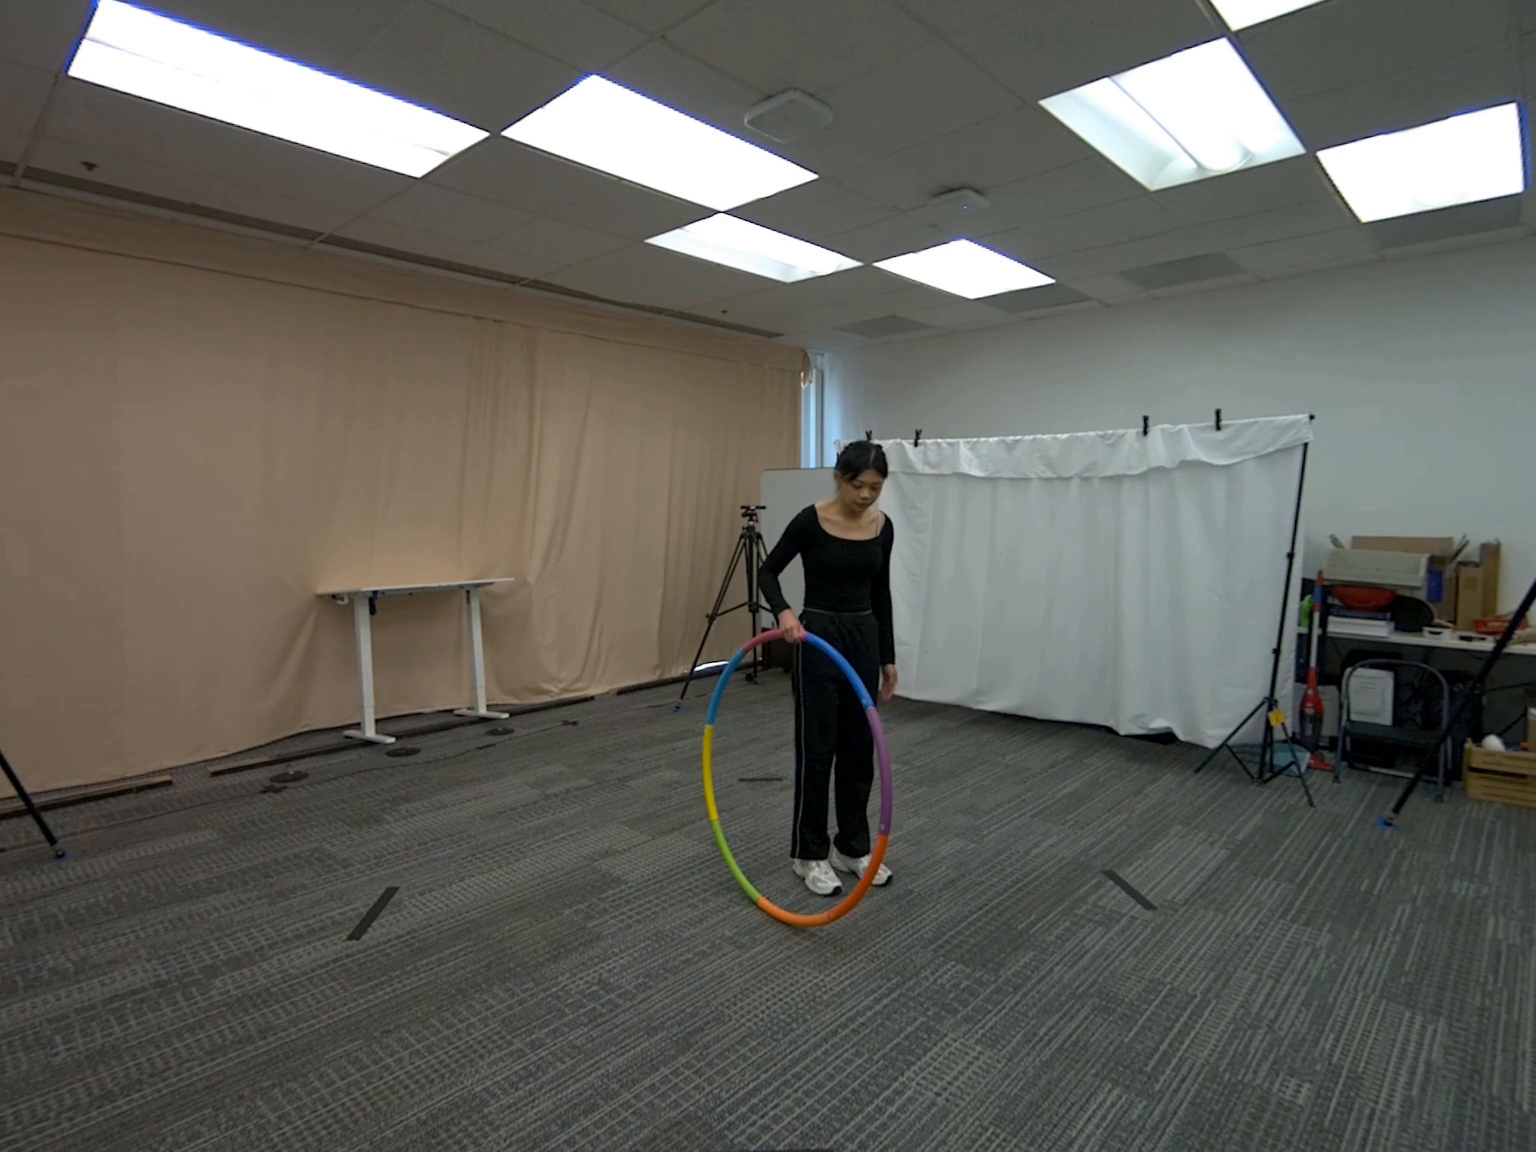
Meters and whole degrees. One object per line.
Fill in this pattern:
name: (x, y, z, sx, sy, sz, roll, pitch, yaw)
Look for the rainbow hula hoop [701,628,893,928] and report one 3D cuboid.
rainbow hula hoop: (0.062, 0.667, 2.885, 0.034, 0.979, 1.010, 7, -1, -37)
